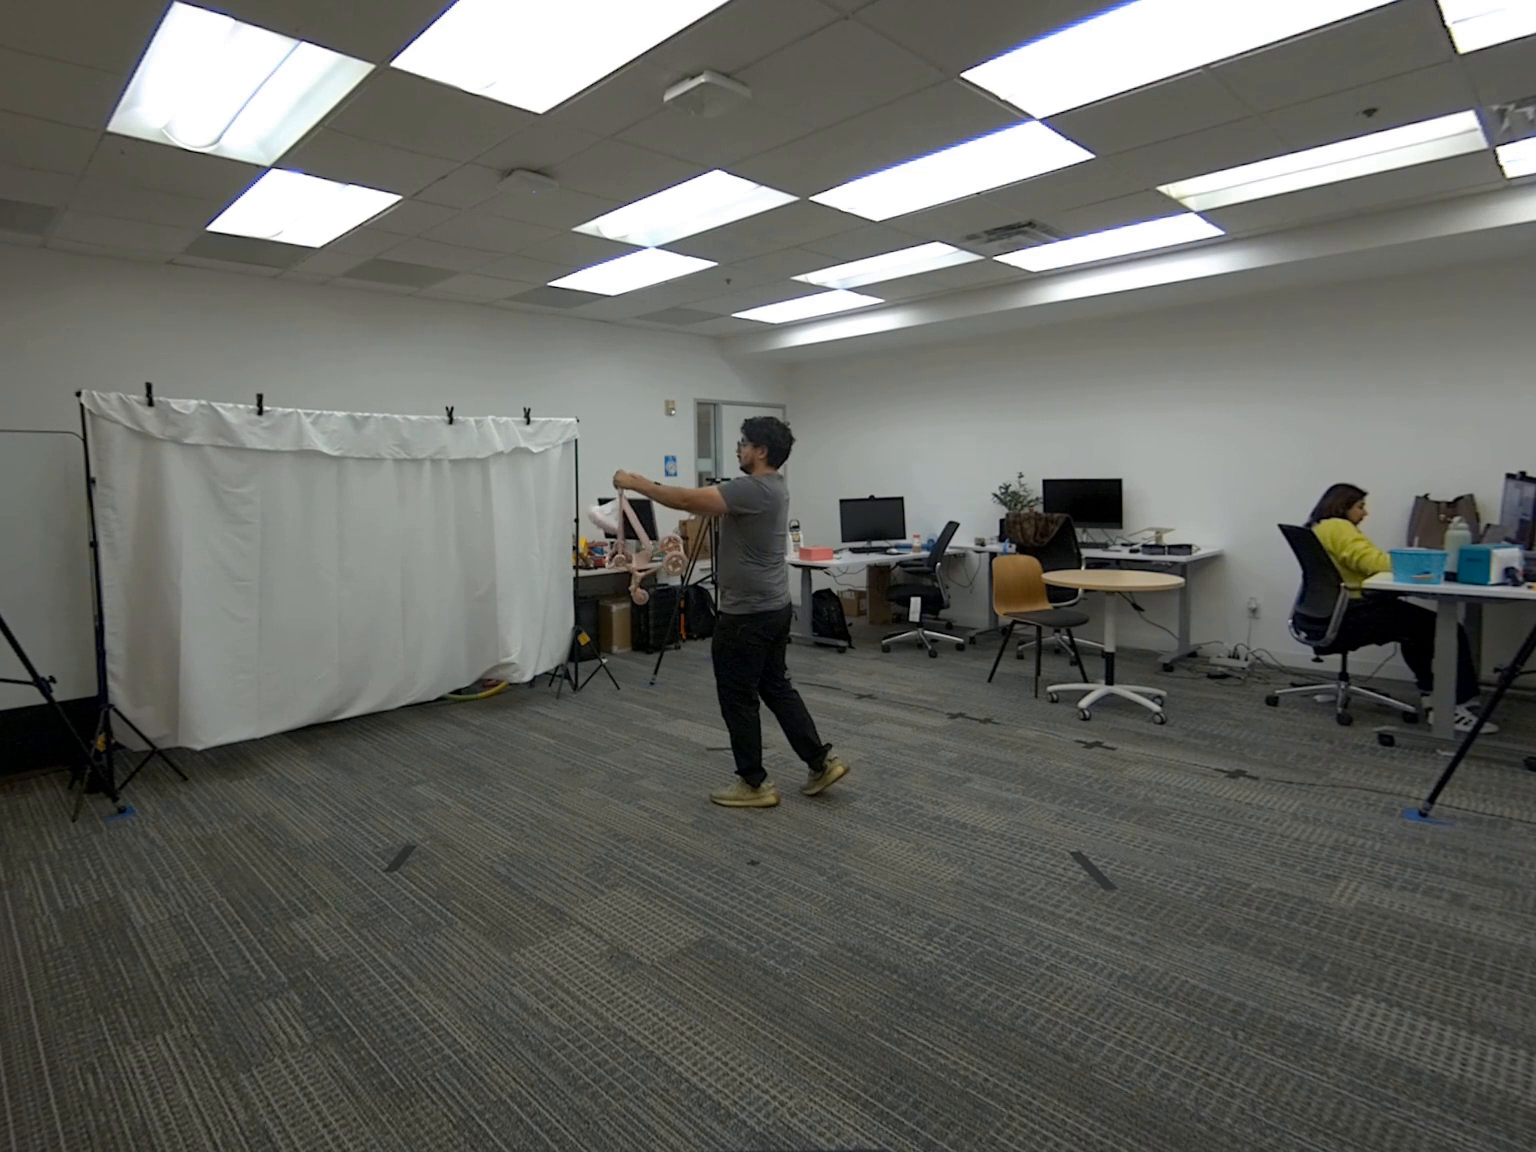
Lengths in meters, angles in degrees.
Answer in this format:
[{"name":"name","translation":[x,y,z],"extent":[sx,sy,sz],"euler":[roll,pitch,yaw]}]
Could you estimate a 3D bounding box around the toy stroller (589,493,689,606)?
[{"name":"toy stroller","translation":[-0.599,-0.153,3.761],"extent":[0.342,0.523,0.287],"euler":[-35,19,9]}]
